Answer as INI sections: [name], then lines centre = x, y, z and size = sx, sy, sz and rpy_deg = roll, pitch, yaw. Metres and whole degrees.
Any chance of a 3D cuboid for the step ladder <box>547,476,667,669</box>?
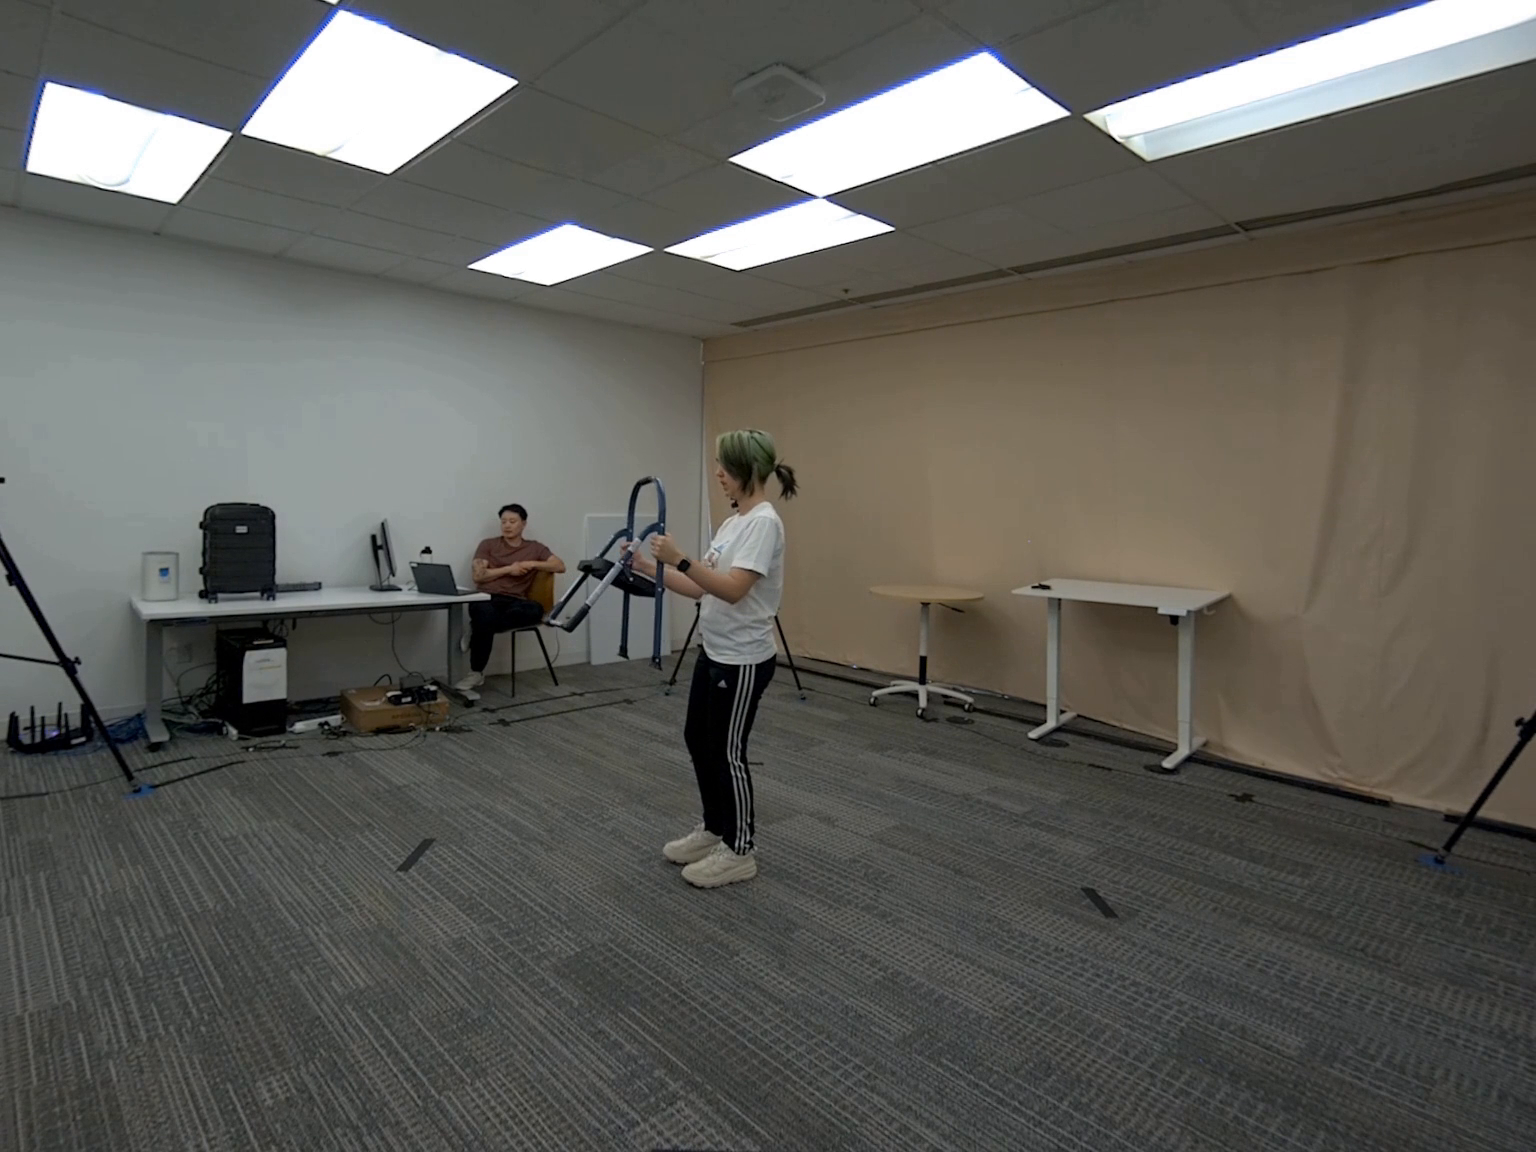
[step ladder]
centre = -0.479, -0.036, 2.941
size = 0.342, 0.609, 0.438
rpy_deg = 25, -11, -23
